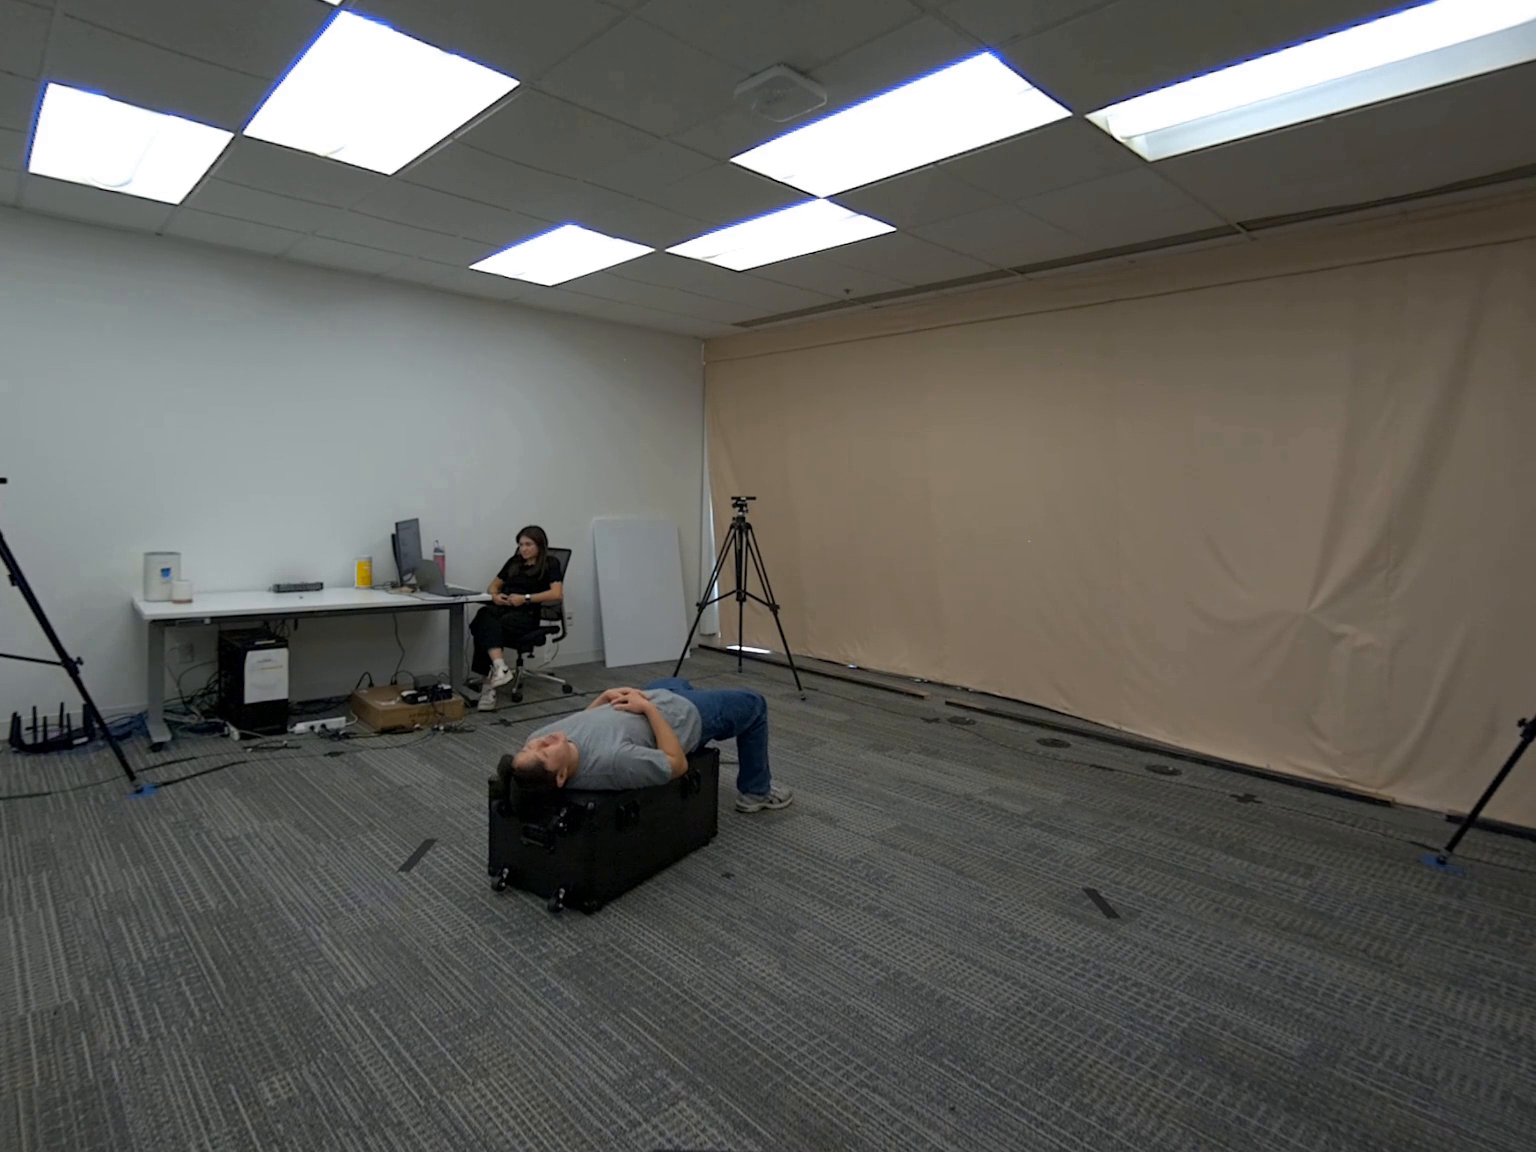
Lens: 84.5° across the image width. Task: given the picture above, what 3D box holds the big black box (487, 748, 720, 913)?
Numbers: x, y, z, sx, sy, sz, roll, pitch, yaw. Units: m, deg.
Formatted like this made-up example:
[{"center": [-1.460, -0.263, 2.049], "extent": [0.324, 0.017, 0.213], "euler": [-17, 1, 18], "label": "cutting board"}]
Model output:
[{"center": [-0.622, 0.907, 3.181], "extent": [0.533, 0.395, 0.845], "euler": [5, 6, 30], "label": "big black box"}]
